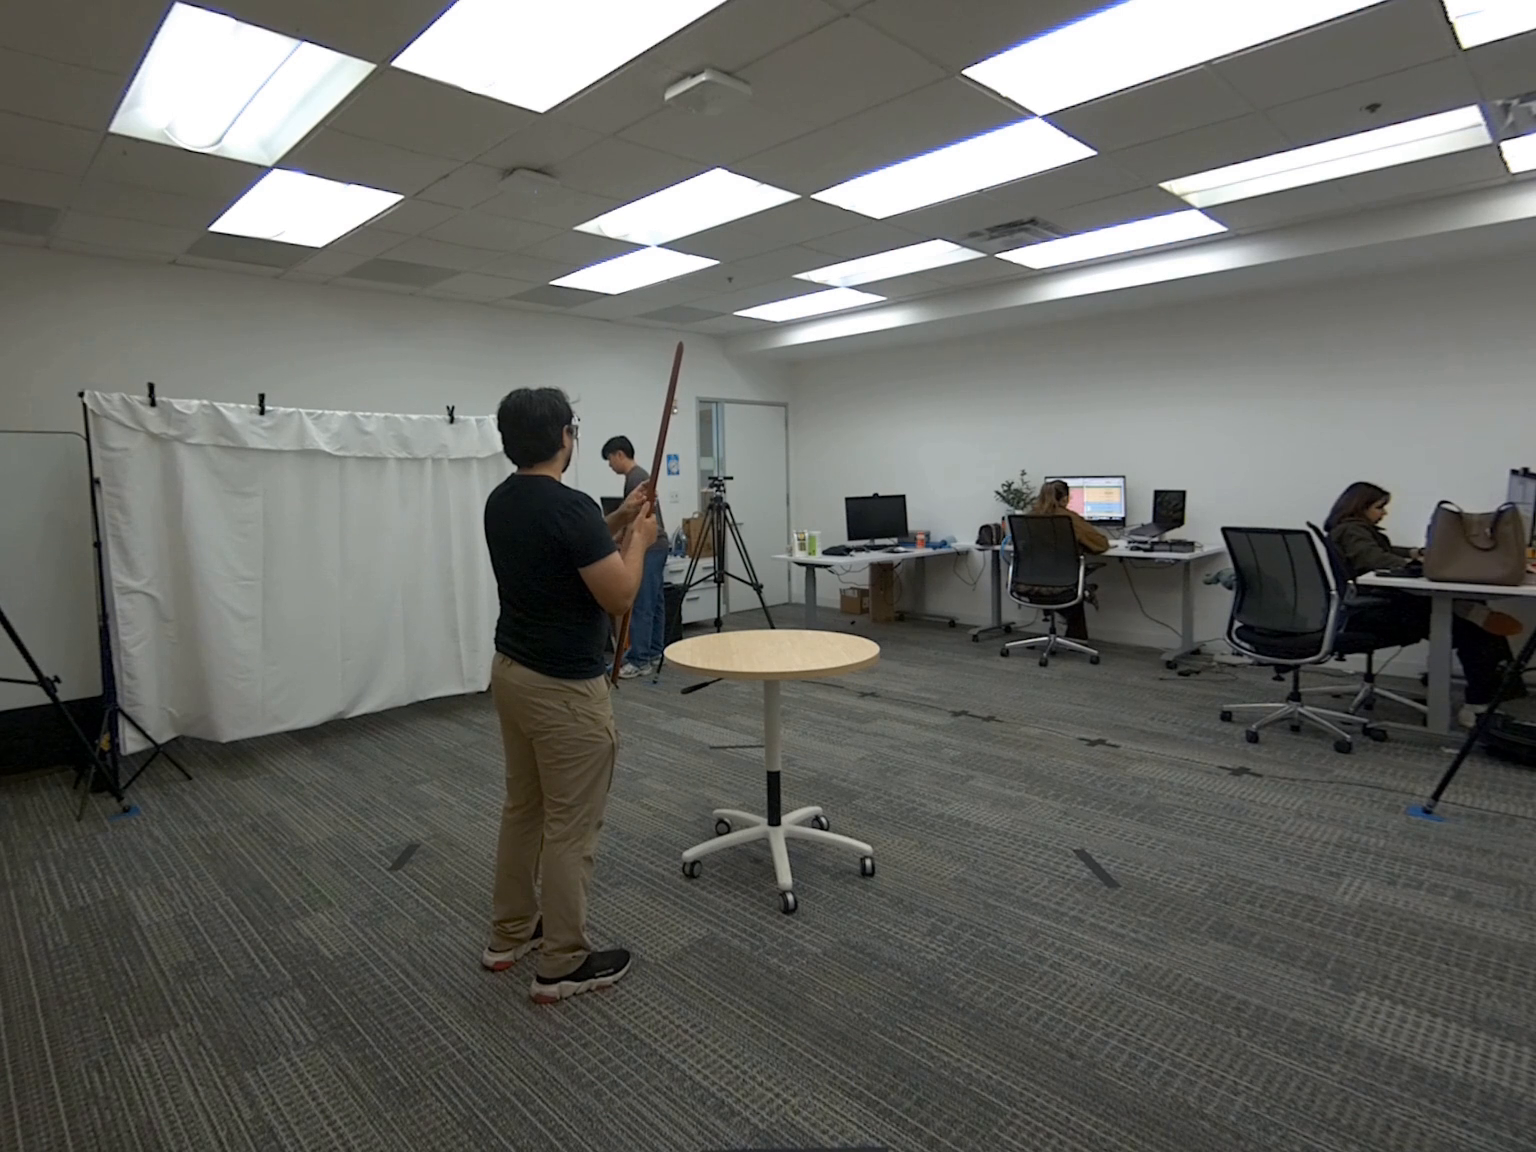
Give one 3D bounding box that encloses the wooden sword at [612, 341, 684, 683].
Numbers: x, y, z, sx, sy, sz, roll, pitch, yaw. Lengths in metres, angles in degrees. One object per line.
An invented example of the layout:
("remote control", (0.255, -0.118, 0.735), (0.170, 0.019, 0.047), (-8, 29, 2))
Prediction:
("wooden sword", (-0.364, -0.180, 2.522), (0.052, 1.020, 0.024), (12, 6, 12))
